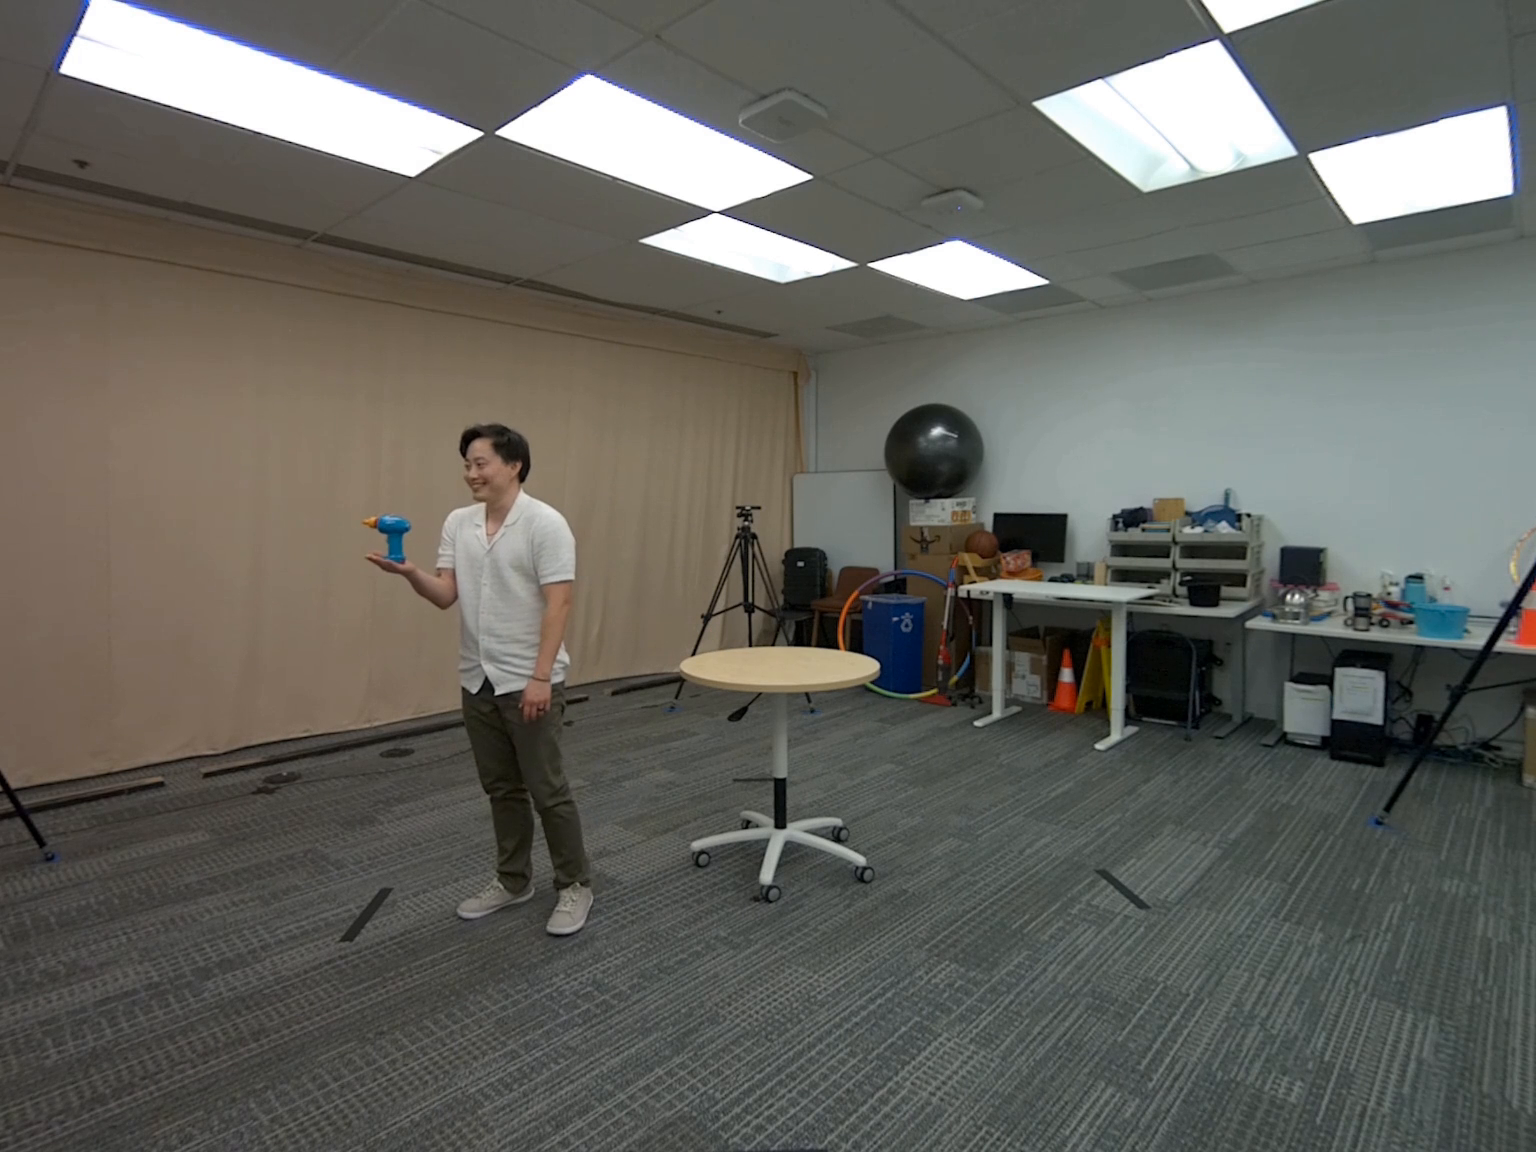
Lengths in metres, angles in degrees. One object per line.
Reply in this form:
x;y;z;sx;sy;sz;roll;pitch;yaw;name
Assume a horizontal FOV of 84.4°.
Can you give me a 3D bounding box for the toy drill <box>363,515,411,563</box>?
-1.185;-0.122;2.601;0.172;0.146;0.060;8;2;12;toy drill
